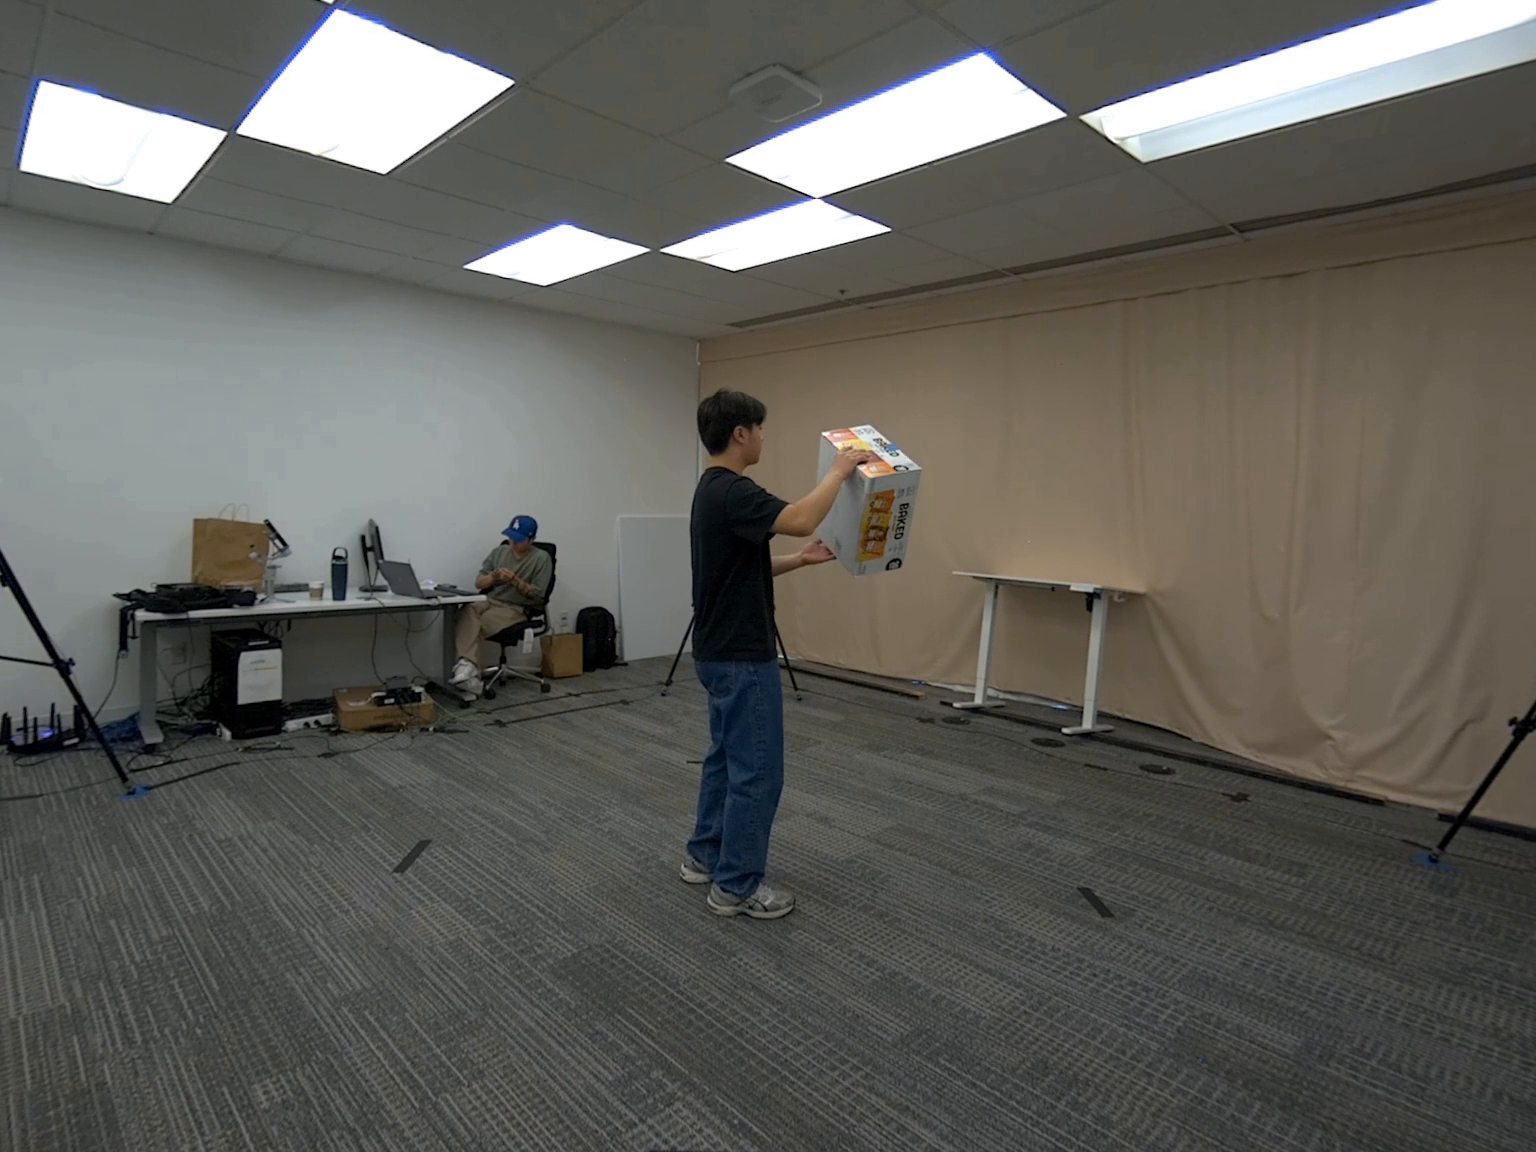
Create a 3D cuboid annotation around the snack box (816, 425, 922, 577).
[{"bbox_3d":[0.326,-0.266,2.968,0.203,0.397,0.351,-11,38,-21],"label":"snack box"}]
